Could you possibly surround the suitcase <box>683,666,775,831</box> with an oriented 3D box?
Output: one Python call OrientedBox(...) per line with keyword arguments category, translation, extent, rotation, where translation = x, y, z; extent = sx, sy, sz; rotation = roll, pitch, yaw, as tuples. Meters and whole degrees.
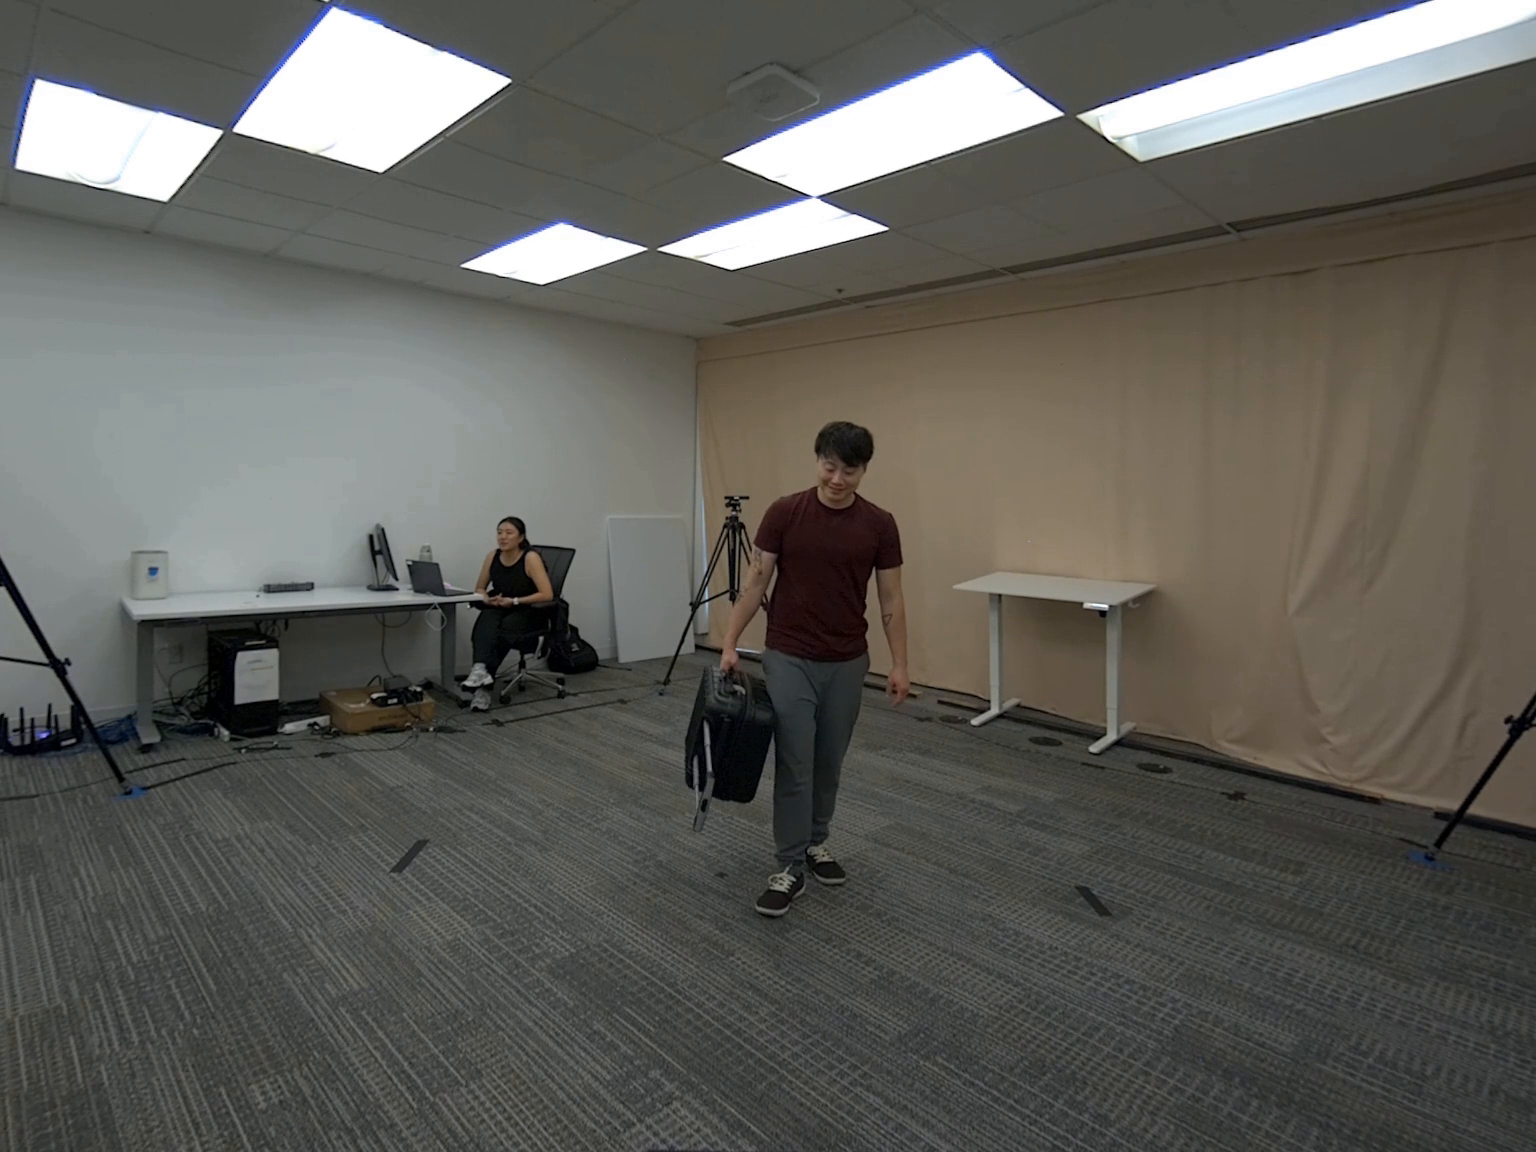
OrientedBox(category="suitcase", translation=(-0.134, 0.576, 2.804), extent=(0.255, 0.383, 0.988), rotation=(14, 7, -8))
